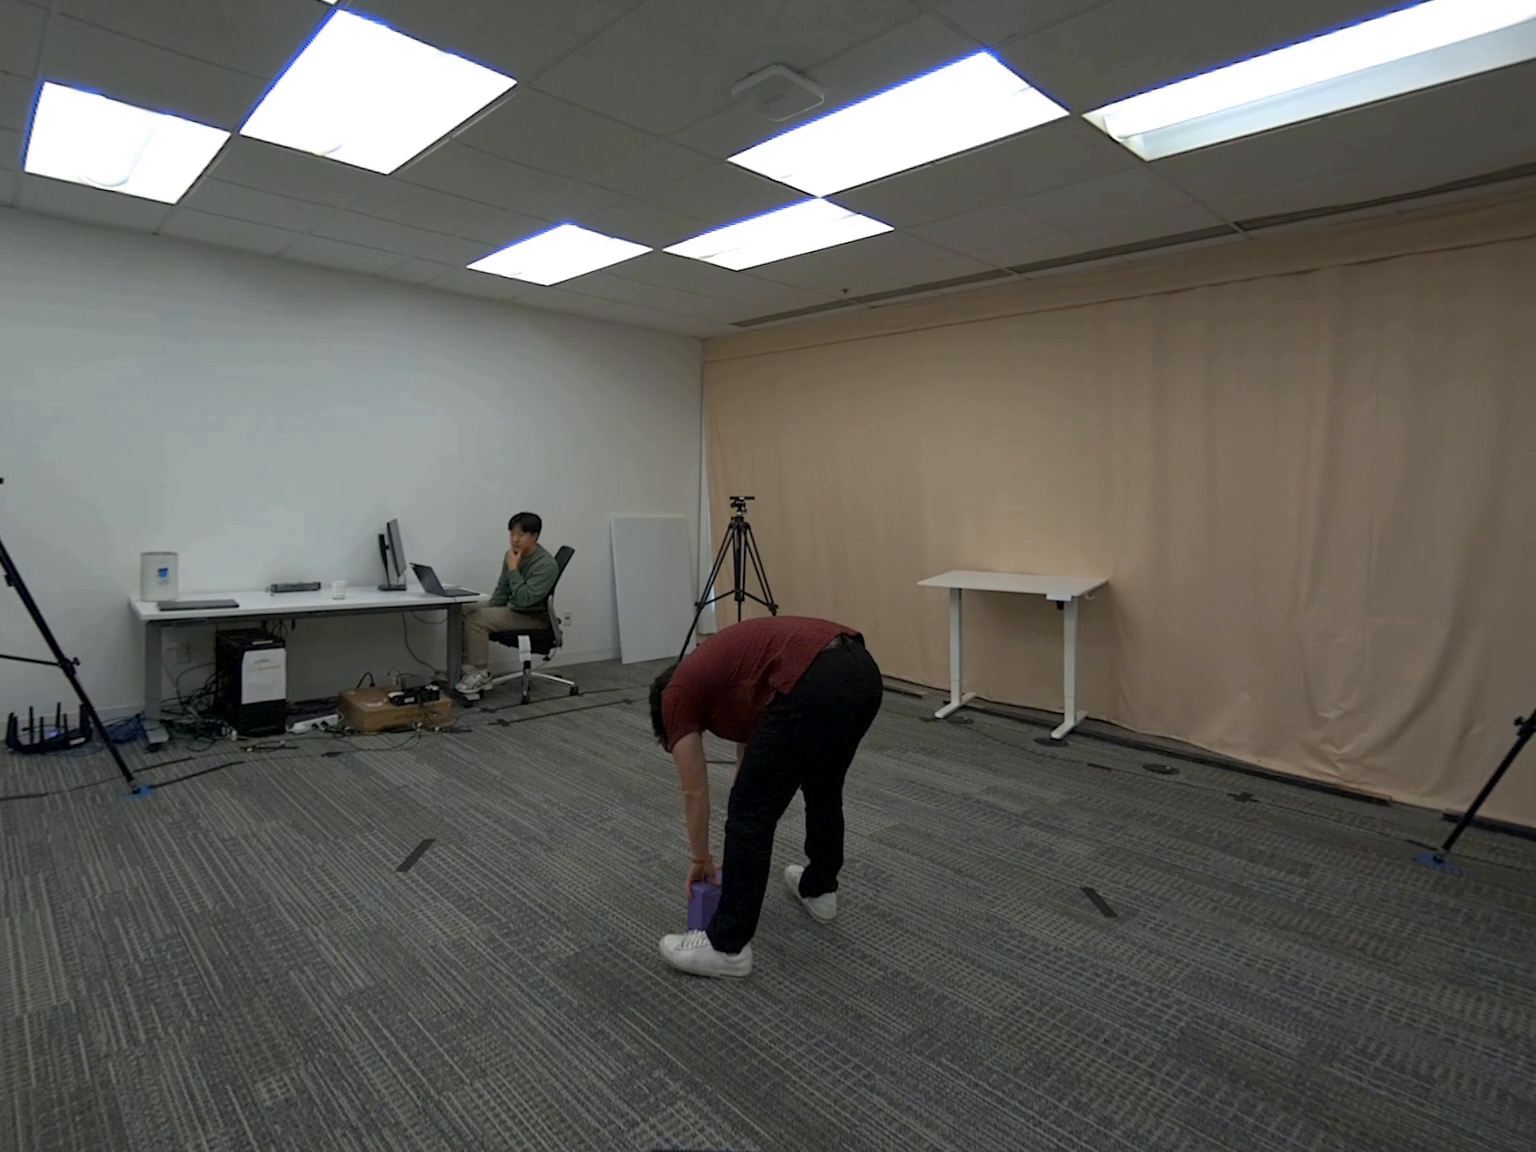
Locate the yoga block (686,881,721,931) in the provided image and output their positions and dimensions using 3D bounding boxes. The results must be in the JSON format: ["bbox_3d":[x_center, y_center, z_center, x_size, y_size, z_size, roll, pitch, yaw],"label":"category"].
[{"bbox_3d":[-0.165,1.063,2.766,0.078,0.148,0.224,7,7,35],"label":"yoga block"}]
